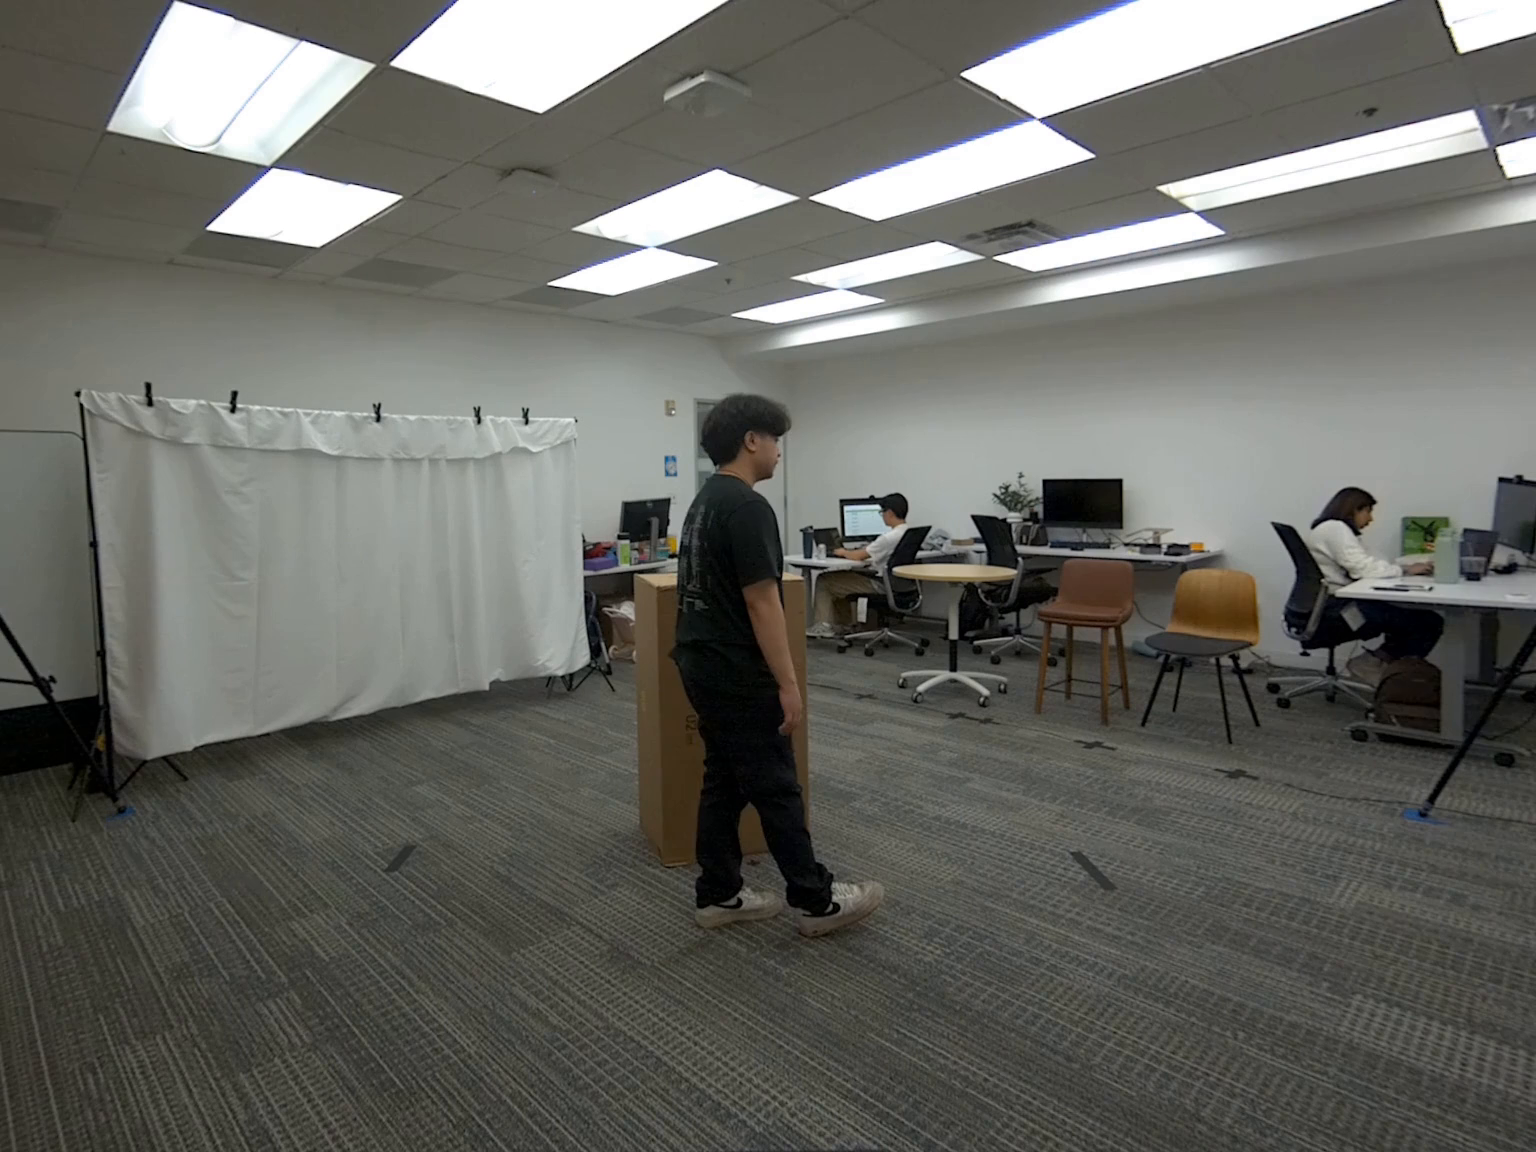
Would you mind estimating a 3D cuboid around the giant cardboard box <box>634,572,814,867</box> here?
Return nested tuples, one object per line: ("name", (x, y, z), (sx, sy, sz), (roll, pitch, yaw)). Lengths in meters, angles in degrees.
("giant cardboard box", (-0.191, 0.505, 3.329), (0.575, 1.024, 0.455), (-2, 3, -18))
